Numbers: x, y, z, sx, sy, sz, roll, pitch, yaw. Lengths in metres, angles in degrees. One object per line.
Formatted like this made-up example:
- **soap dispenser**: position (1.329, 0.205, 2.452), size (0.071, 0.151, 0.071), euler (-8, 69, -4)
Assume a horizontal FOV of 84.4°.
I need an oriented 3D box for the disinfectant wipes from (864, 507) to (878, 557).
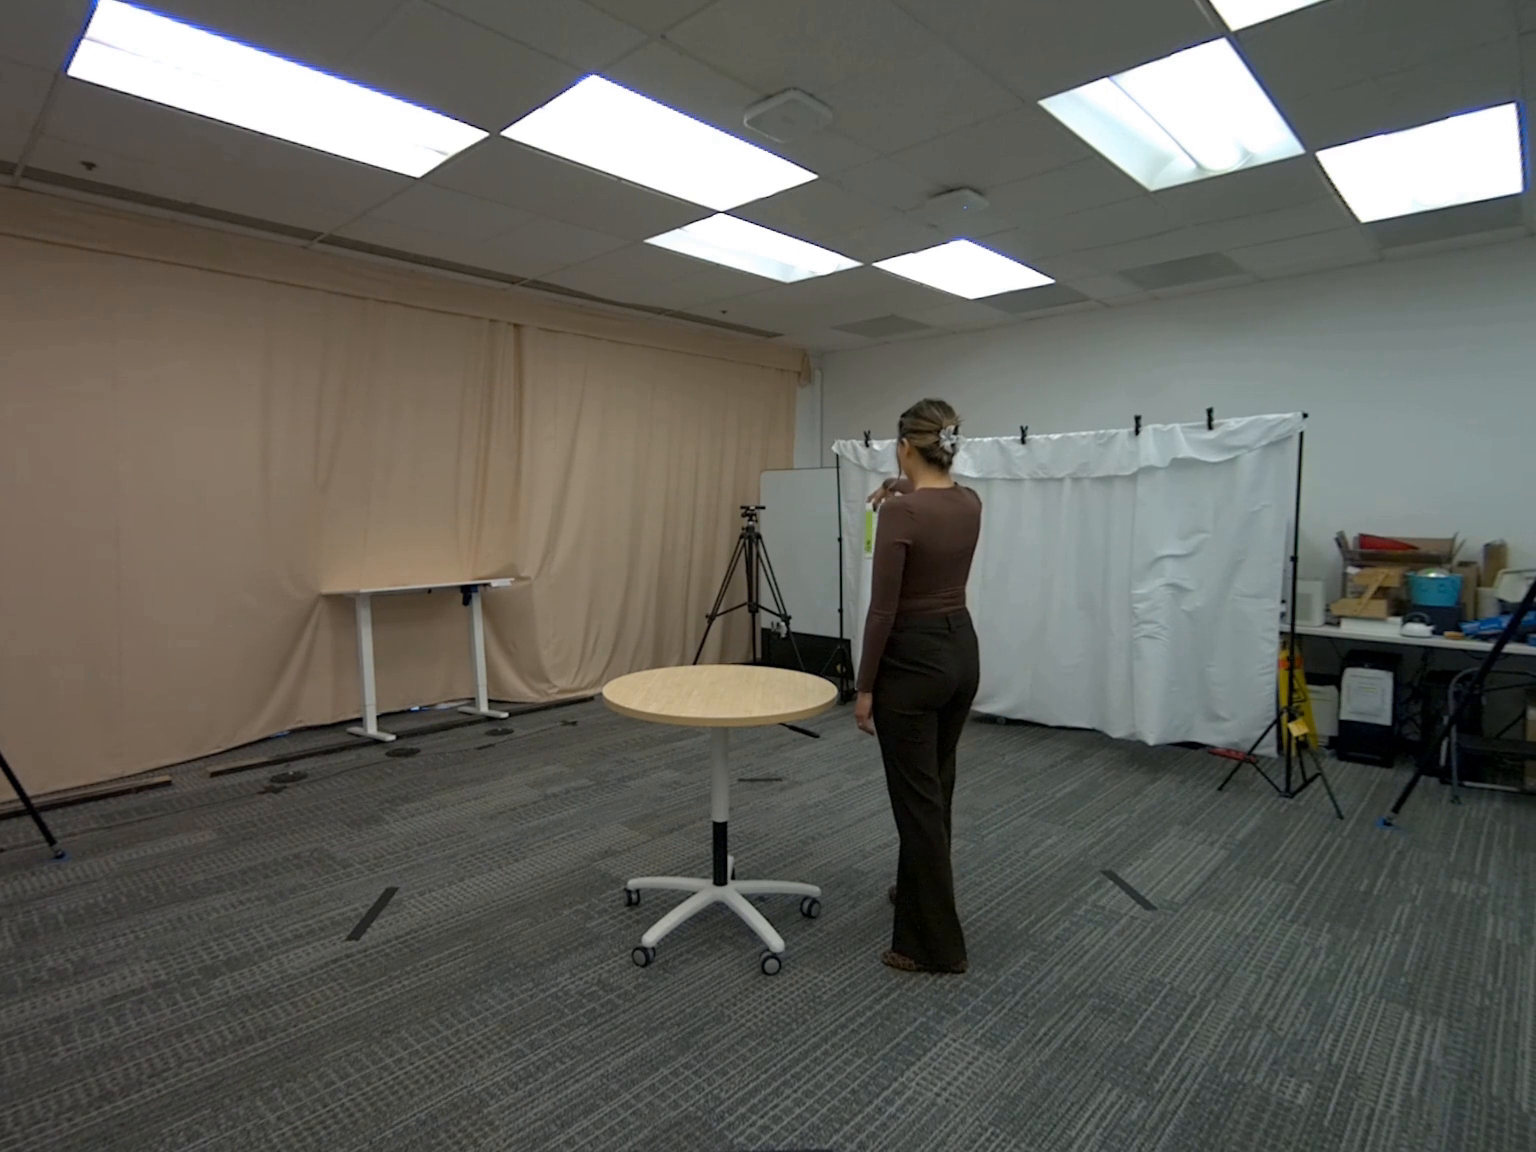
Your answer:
- **disinfectant wipes**: position (0.434, -0.172, 3.239), size (0.118, 0.217, 0.118), euler (1, 0, -2)
